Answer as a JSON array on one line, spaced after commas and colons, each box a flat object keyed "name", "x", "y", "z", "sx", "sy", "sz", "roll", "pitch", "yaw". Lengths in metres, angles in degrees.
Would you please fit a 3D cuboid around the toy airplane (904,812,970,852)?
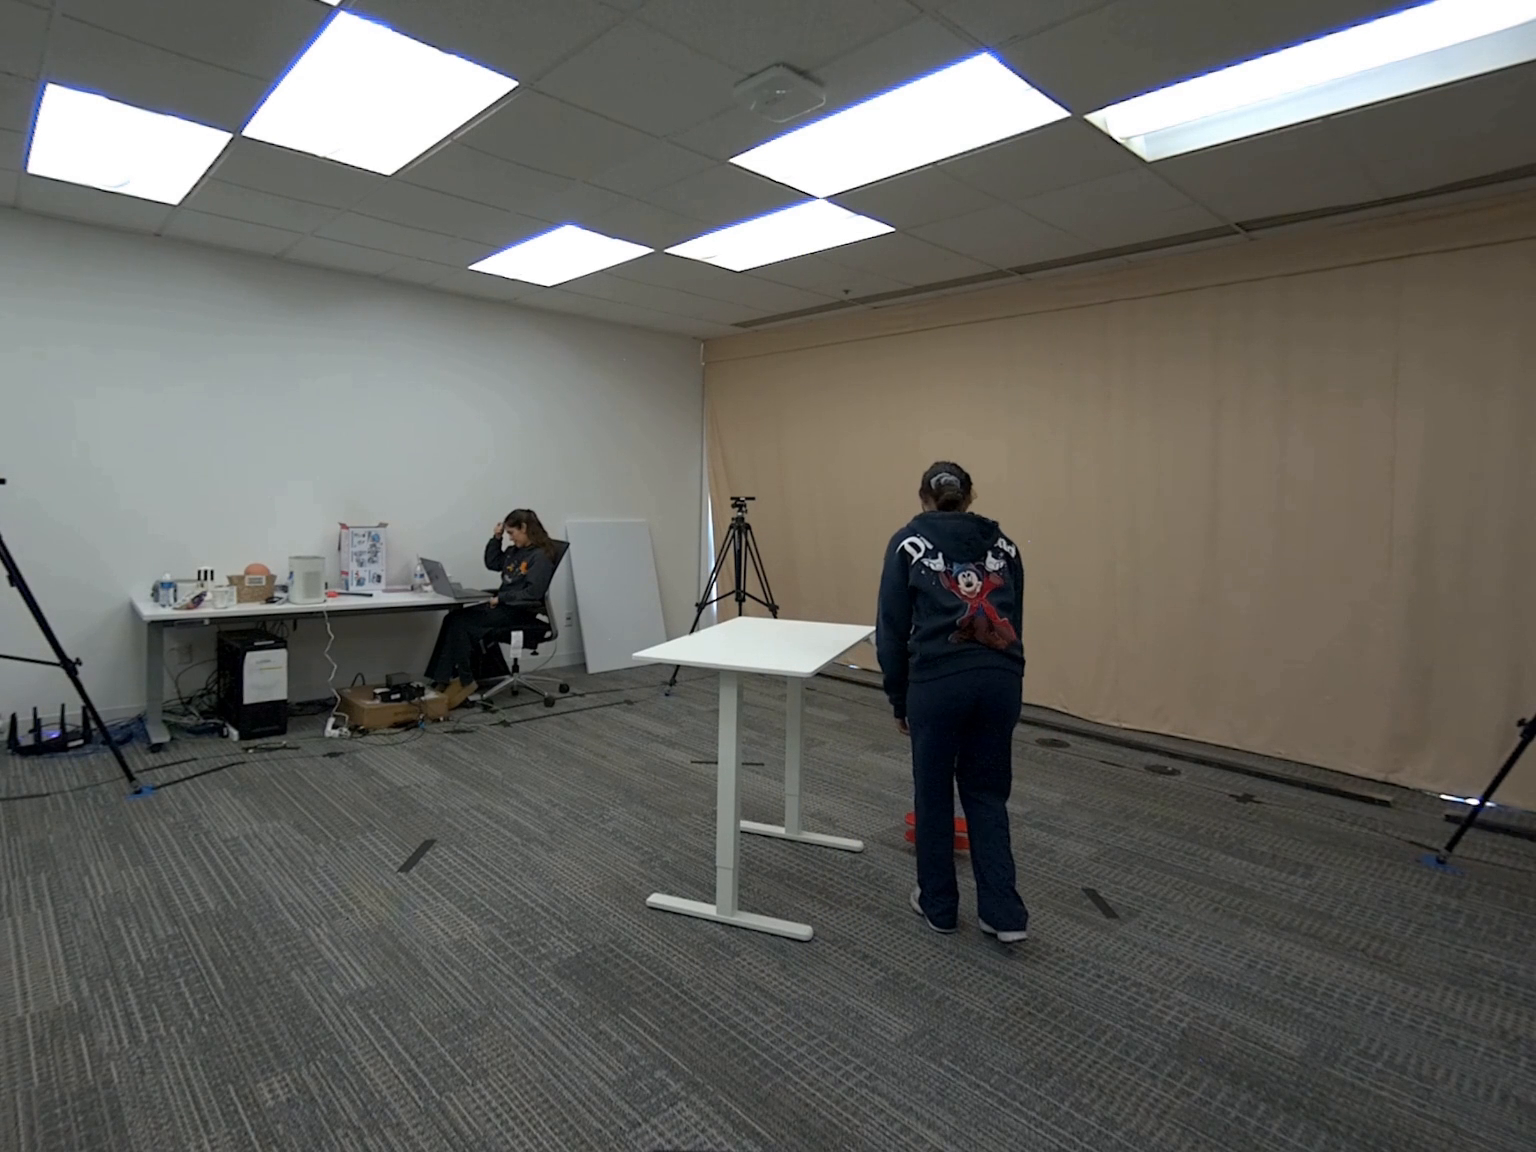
[{"name": "toy airplane", "x": 0.677, "y": 1.037, "z": 3.316, "sx": 0.248, "sy": 0.156, "sz": 0.262, "roll": 1, "pitch": 2, "yaw": -13}]
